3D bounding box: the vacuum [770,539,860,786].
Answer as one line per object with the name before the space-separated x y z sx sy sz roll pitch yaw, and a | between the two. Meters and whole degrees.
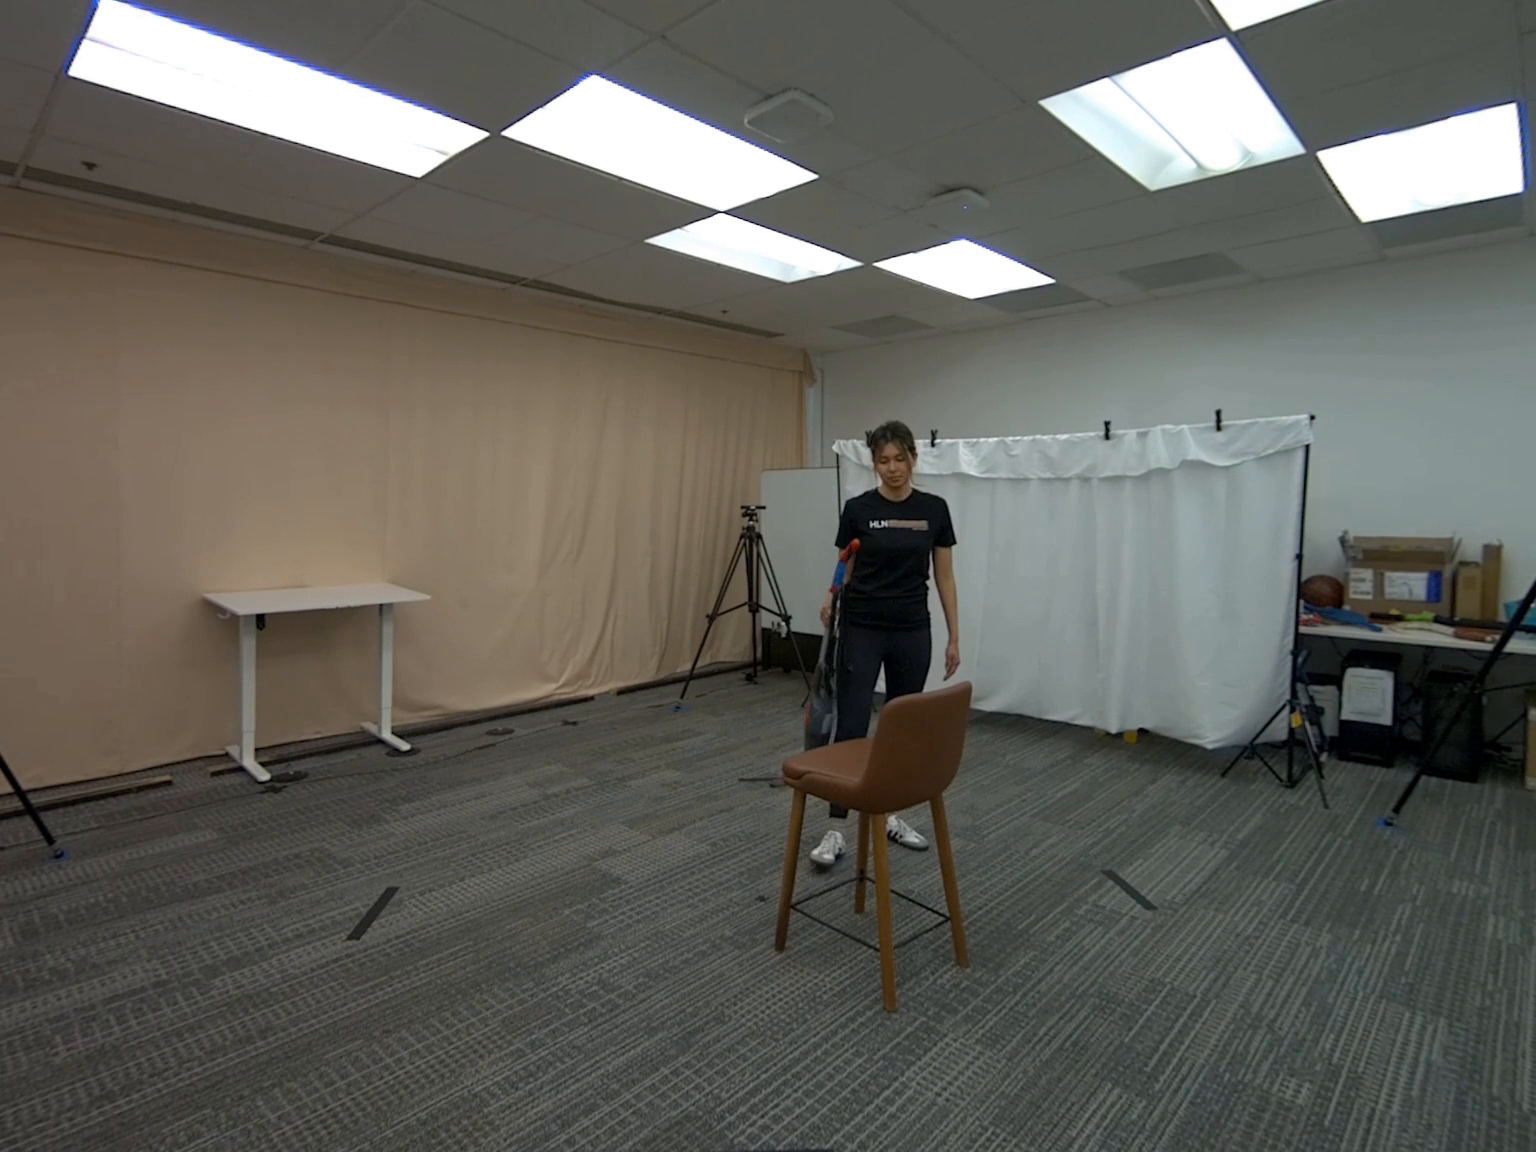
vacuum | 0.230 0.367 3.246 0.245 1.041 0.149 -6 25 -42
